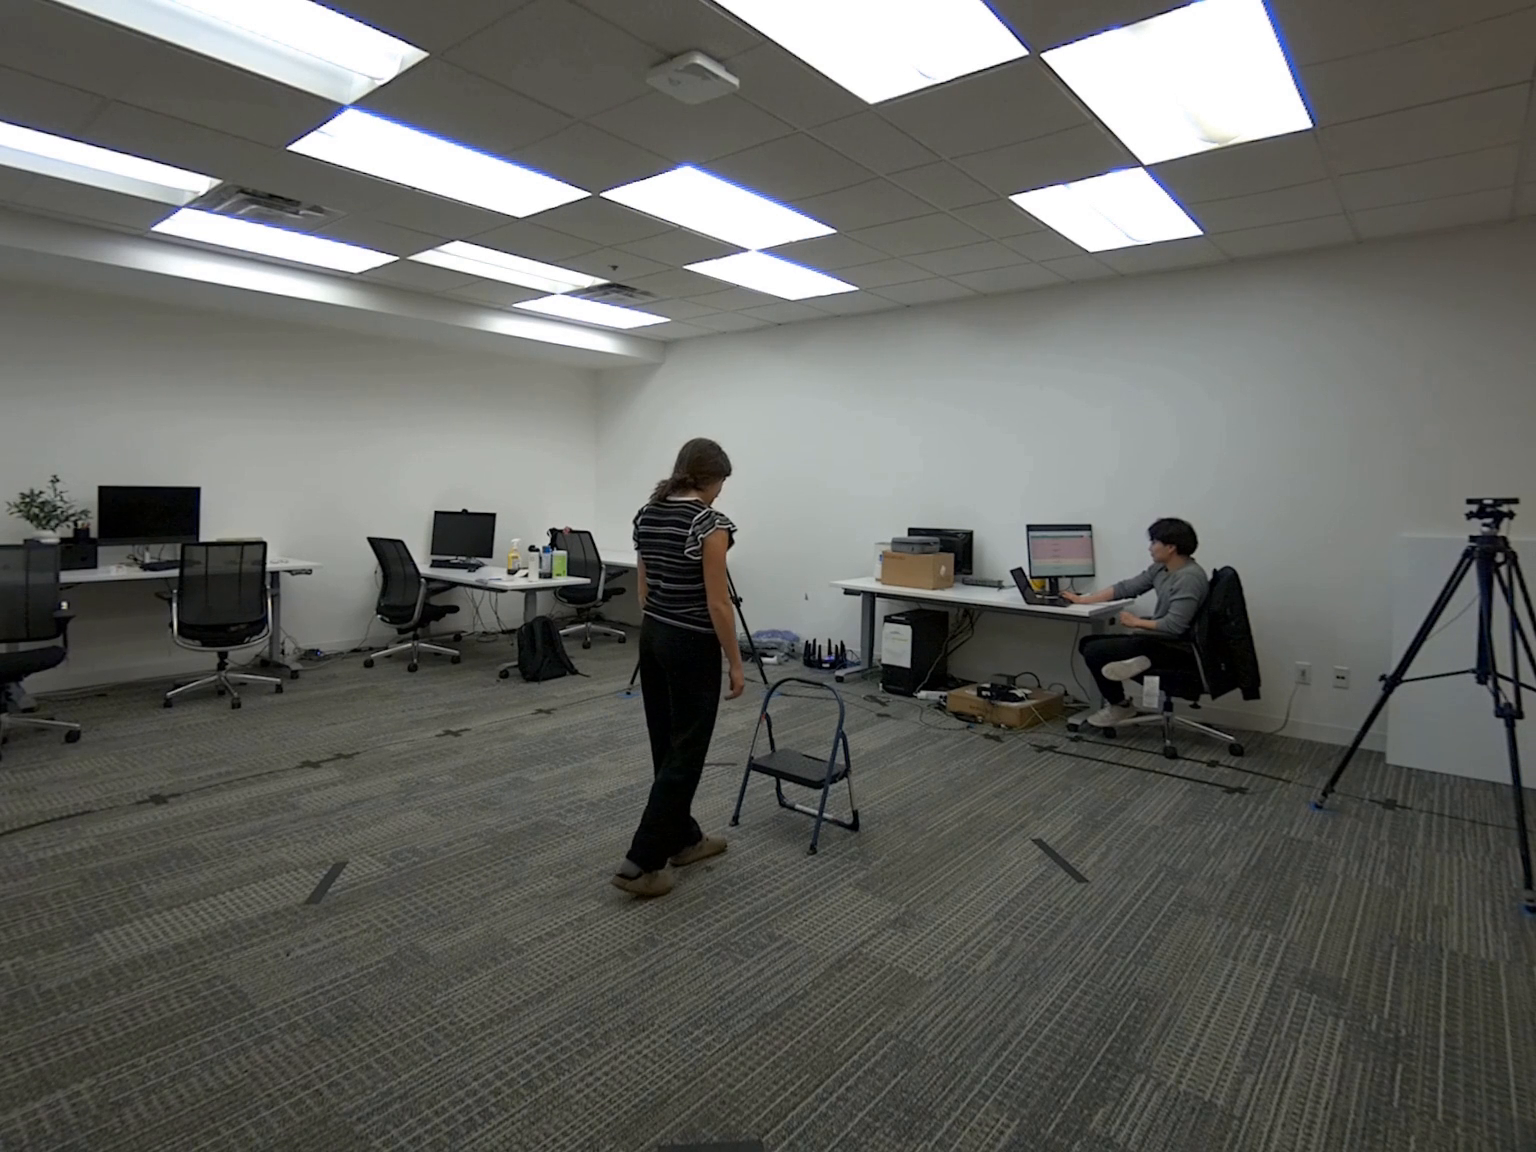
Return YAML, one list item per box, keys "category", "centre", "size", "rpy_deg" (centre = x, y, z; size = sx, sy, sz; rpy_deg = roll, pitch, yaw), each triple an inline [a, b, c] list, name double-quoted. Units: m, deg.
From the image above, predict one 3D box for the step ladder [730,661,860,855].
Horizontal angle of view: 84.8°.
- category: "step ladder"
  centre: [0.108, 0.732, 3.491]
  size: [0.445, 0.604, 0.339]
  rpy_deg: [4, 5, 40]
